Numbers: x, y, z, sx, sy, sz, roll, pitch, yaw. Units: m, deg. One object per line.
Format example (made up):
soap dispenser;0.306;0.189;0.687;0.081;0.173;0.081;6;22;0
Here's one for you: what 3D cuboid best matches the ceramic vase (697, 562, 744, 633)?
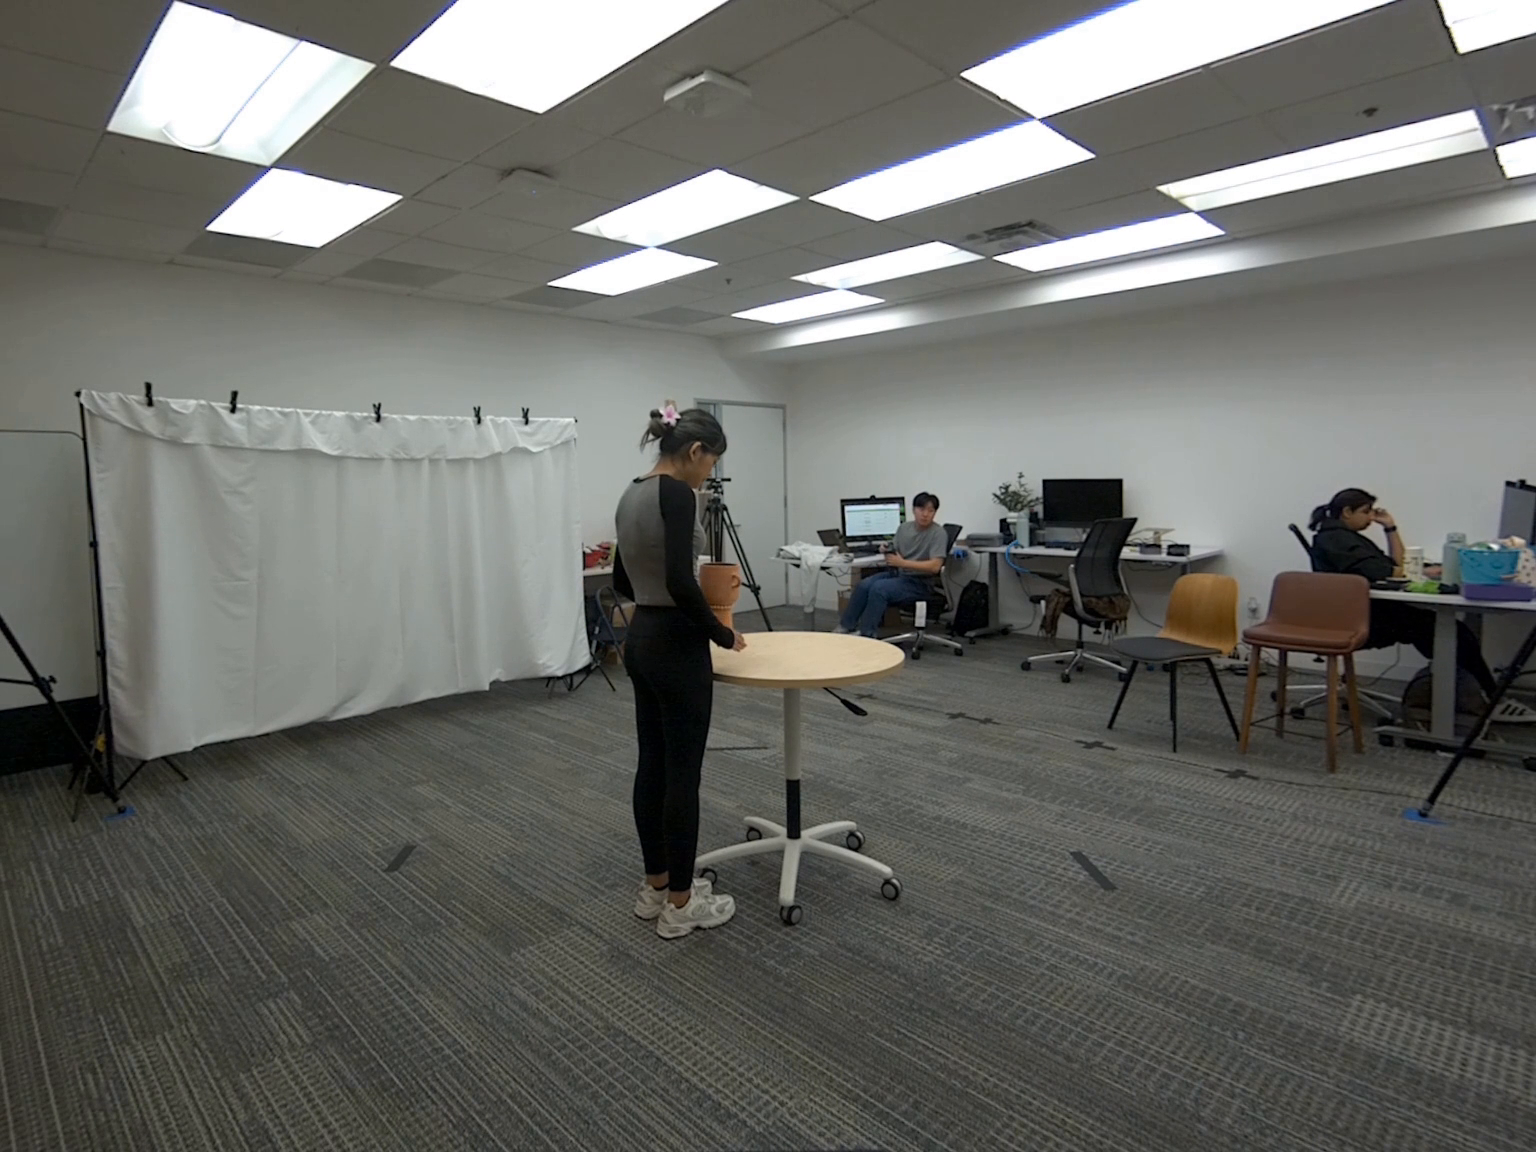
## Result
ceramic vase;-0.168;0.074;2.831;0.133;0.219;0.161;3;5;-10
